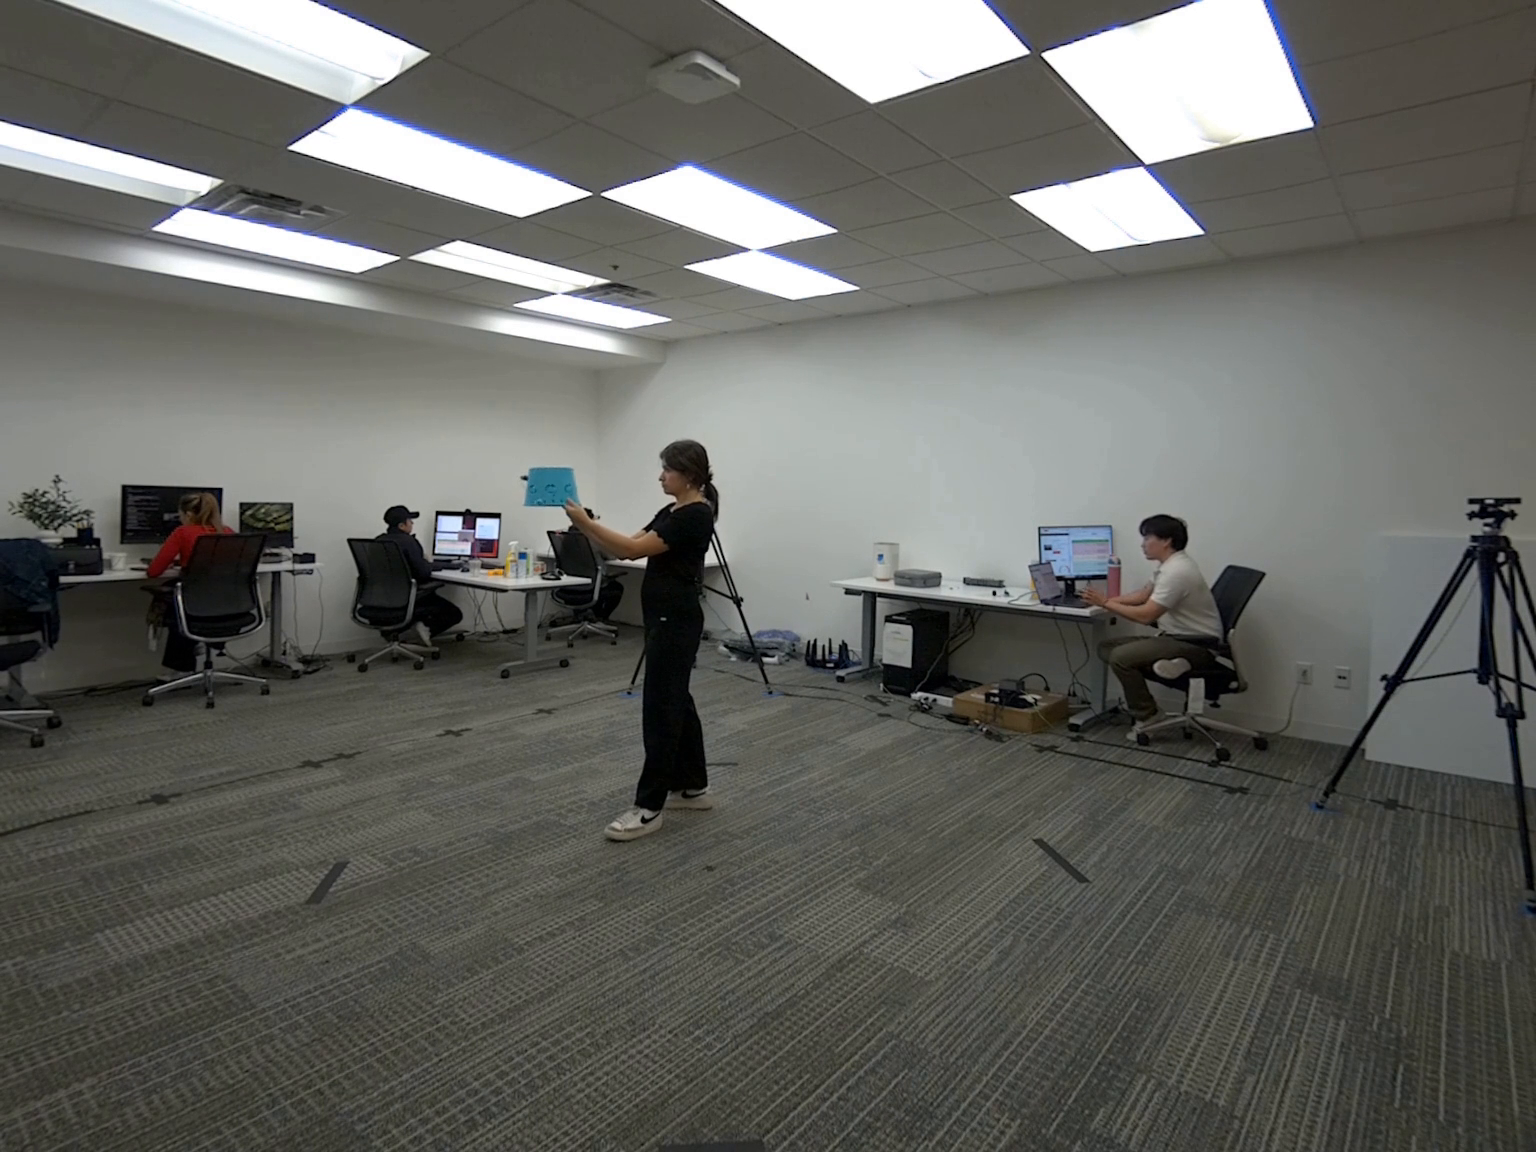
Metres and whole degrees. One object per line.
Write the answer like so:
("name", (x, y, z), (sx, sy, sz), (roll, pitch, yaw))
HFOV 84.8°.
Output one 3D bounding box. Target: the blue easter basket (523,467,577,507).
("blue easter basket", (-0.920, -0.362, 3.490), (0.243, 0.155, 0.245), (1, 4, -2))
